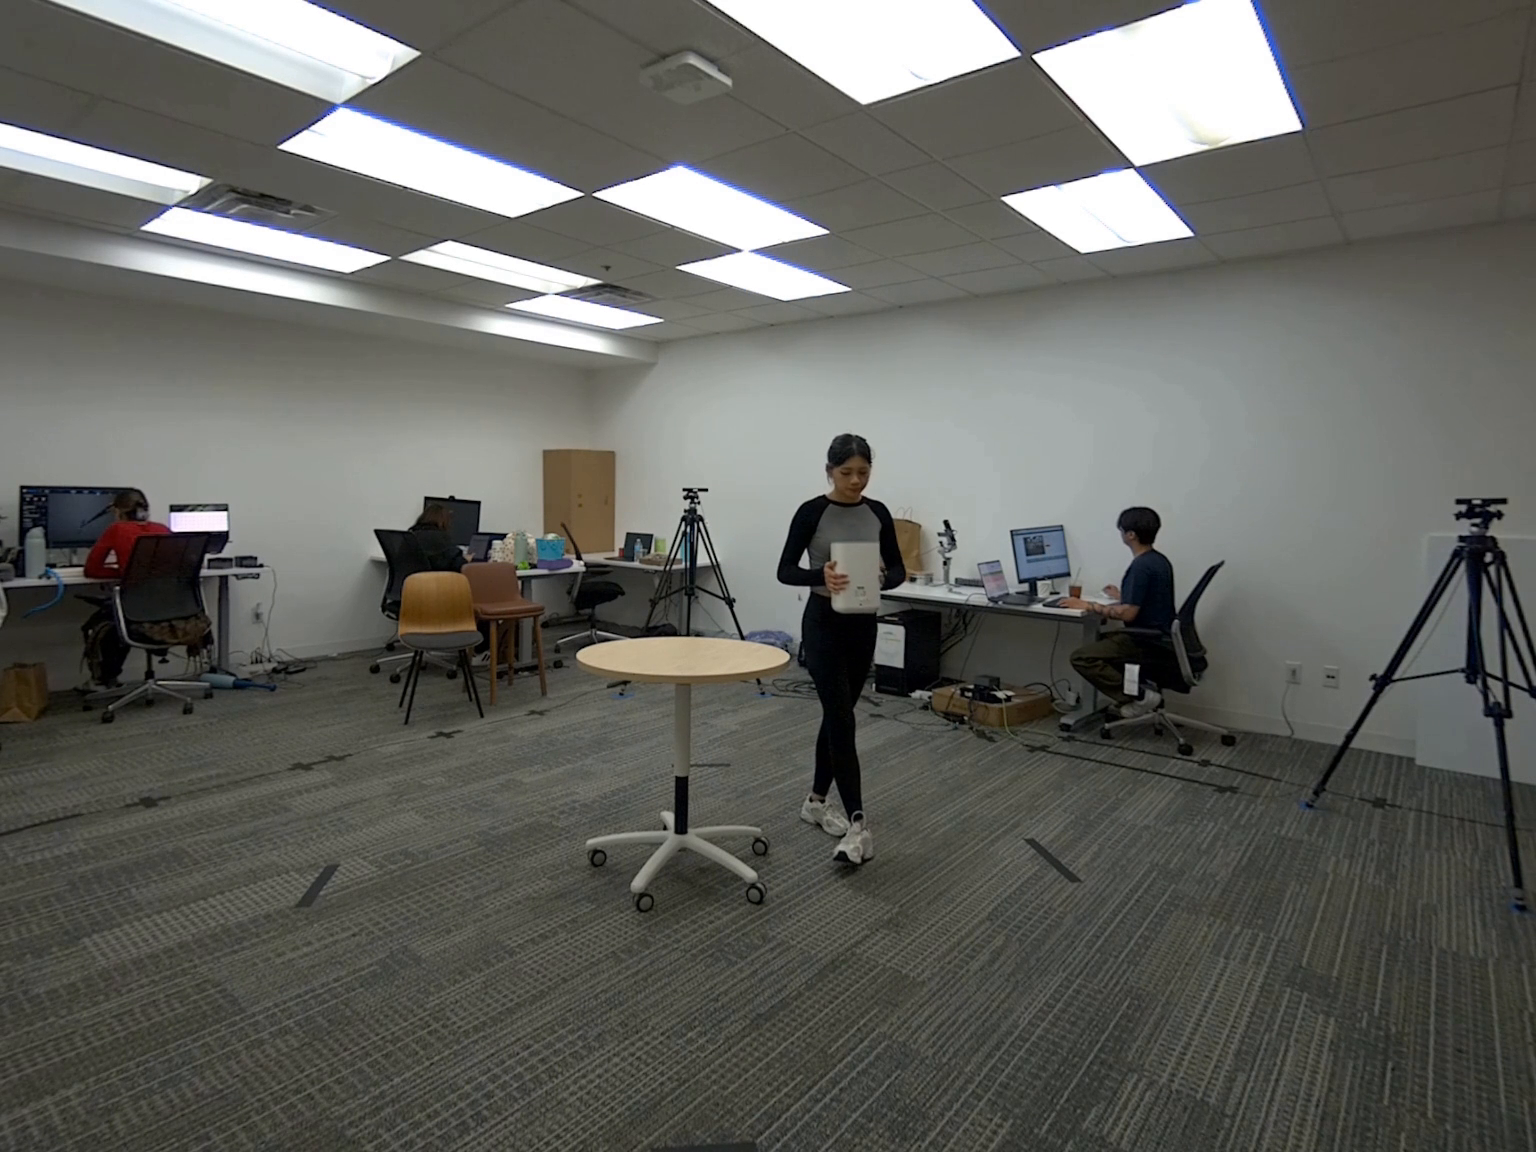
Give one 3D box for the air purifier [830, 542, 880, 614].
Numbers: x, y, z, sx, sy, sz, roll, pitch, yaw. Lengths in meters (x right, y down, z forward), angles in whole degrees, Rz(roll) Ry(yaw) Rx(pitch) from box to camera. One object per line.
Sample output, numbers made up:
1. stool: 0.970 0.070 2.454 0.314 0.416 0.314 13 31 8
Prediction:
1. air purifier: 0.316 0.005 3.188 0.171 0.265 0.171 -3 0 2
